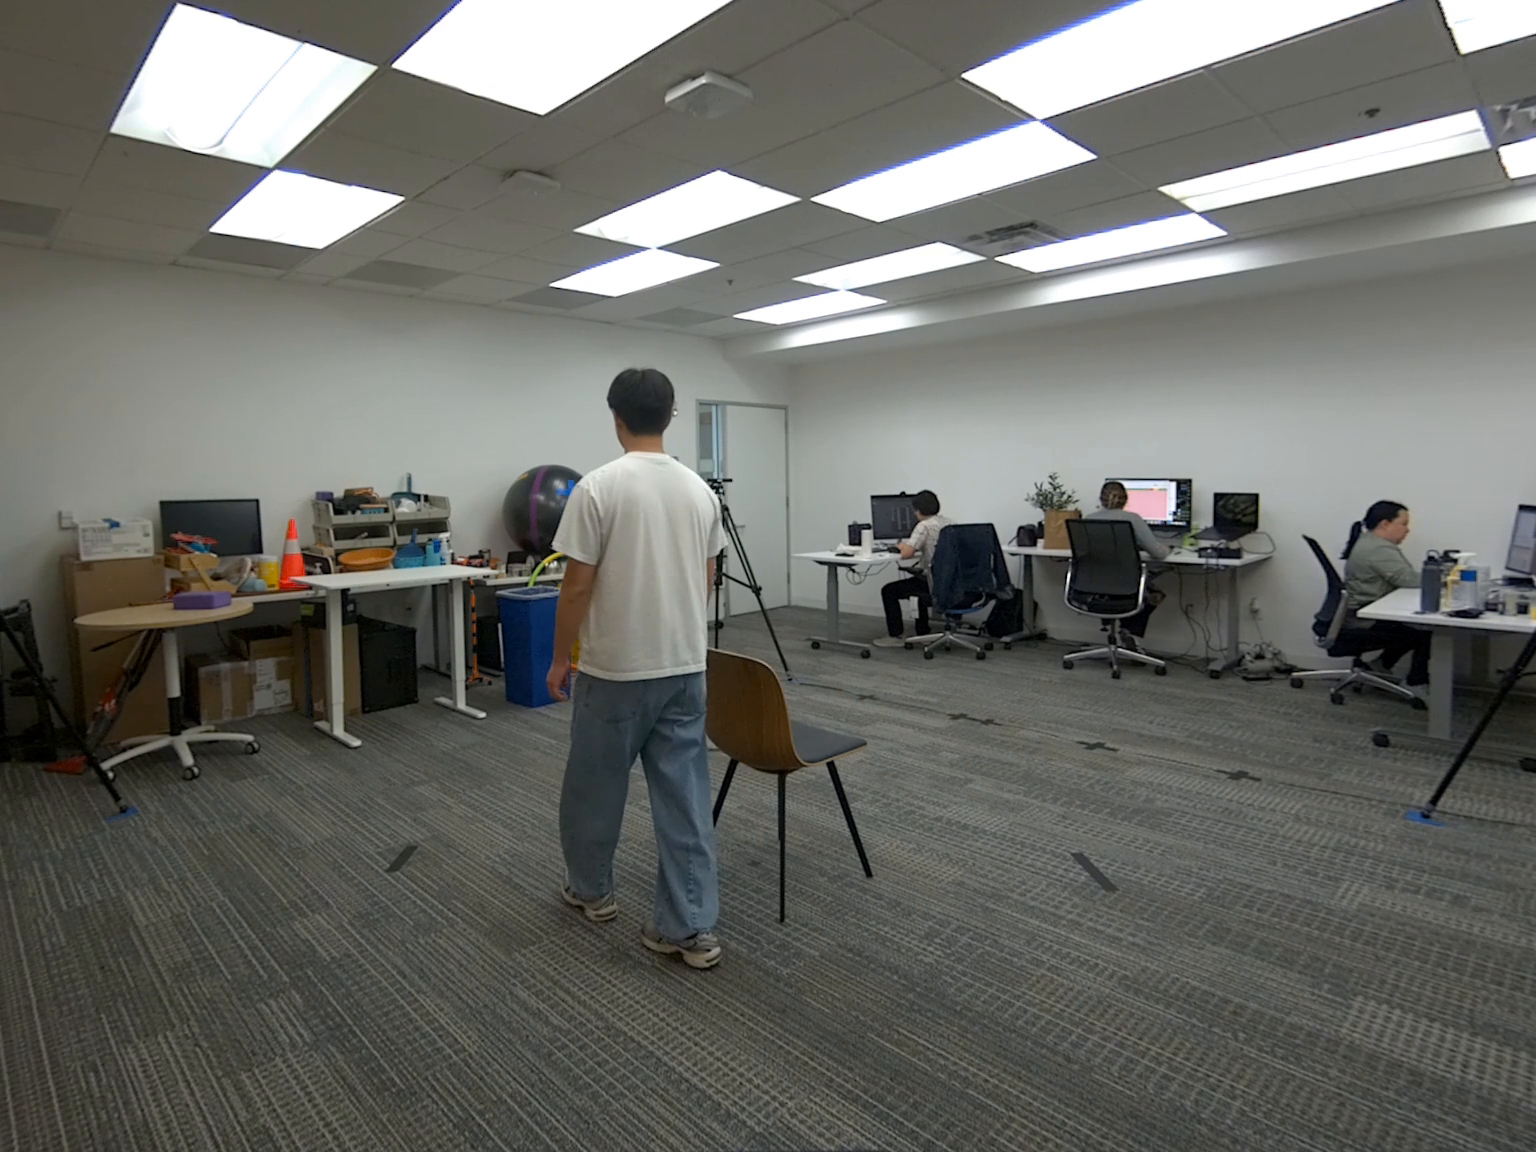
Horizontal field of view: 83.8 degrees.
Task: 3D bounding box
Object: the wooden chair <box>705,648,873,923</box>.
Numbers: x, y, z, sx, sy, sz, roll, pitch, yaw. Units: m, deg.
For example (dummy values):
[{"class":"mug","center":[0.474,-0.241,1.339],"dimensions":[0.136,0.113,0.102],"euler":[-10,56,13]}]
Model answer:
[{"class":"wooden chair","center":[0.052,0.634,2.975],"dimensions":[0.511,0.871,0.493],"euler":[-10,10,-43]}]
